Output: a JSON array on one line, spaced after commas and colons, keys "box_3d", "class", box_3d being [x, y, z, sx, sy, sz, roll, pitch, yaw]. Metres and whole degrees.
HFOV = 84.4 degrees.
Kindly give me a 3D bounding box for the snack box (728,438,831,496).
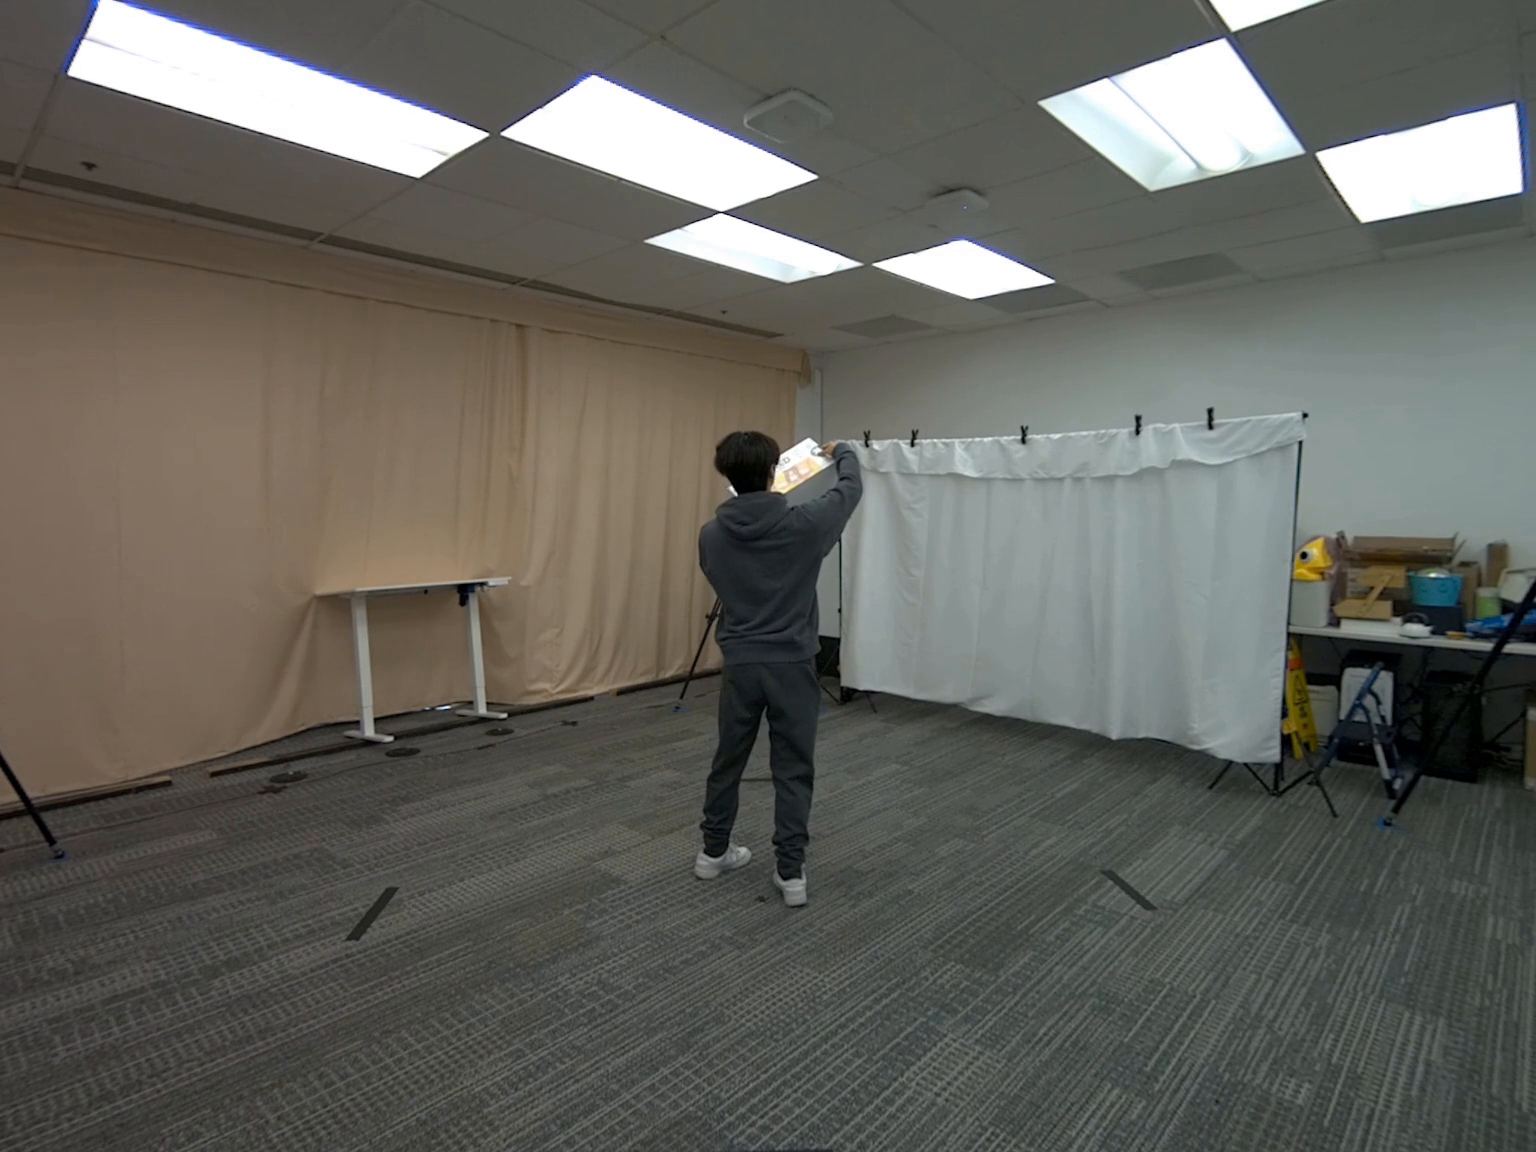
[{"box_3d": [0.098, -0.300, 3.494, 0.403, 0.330, 0.213, -33, 46, -10], "class": "snack box"}]
